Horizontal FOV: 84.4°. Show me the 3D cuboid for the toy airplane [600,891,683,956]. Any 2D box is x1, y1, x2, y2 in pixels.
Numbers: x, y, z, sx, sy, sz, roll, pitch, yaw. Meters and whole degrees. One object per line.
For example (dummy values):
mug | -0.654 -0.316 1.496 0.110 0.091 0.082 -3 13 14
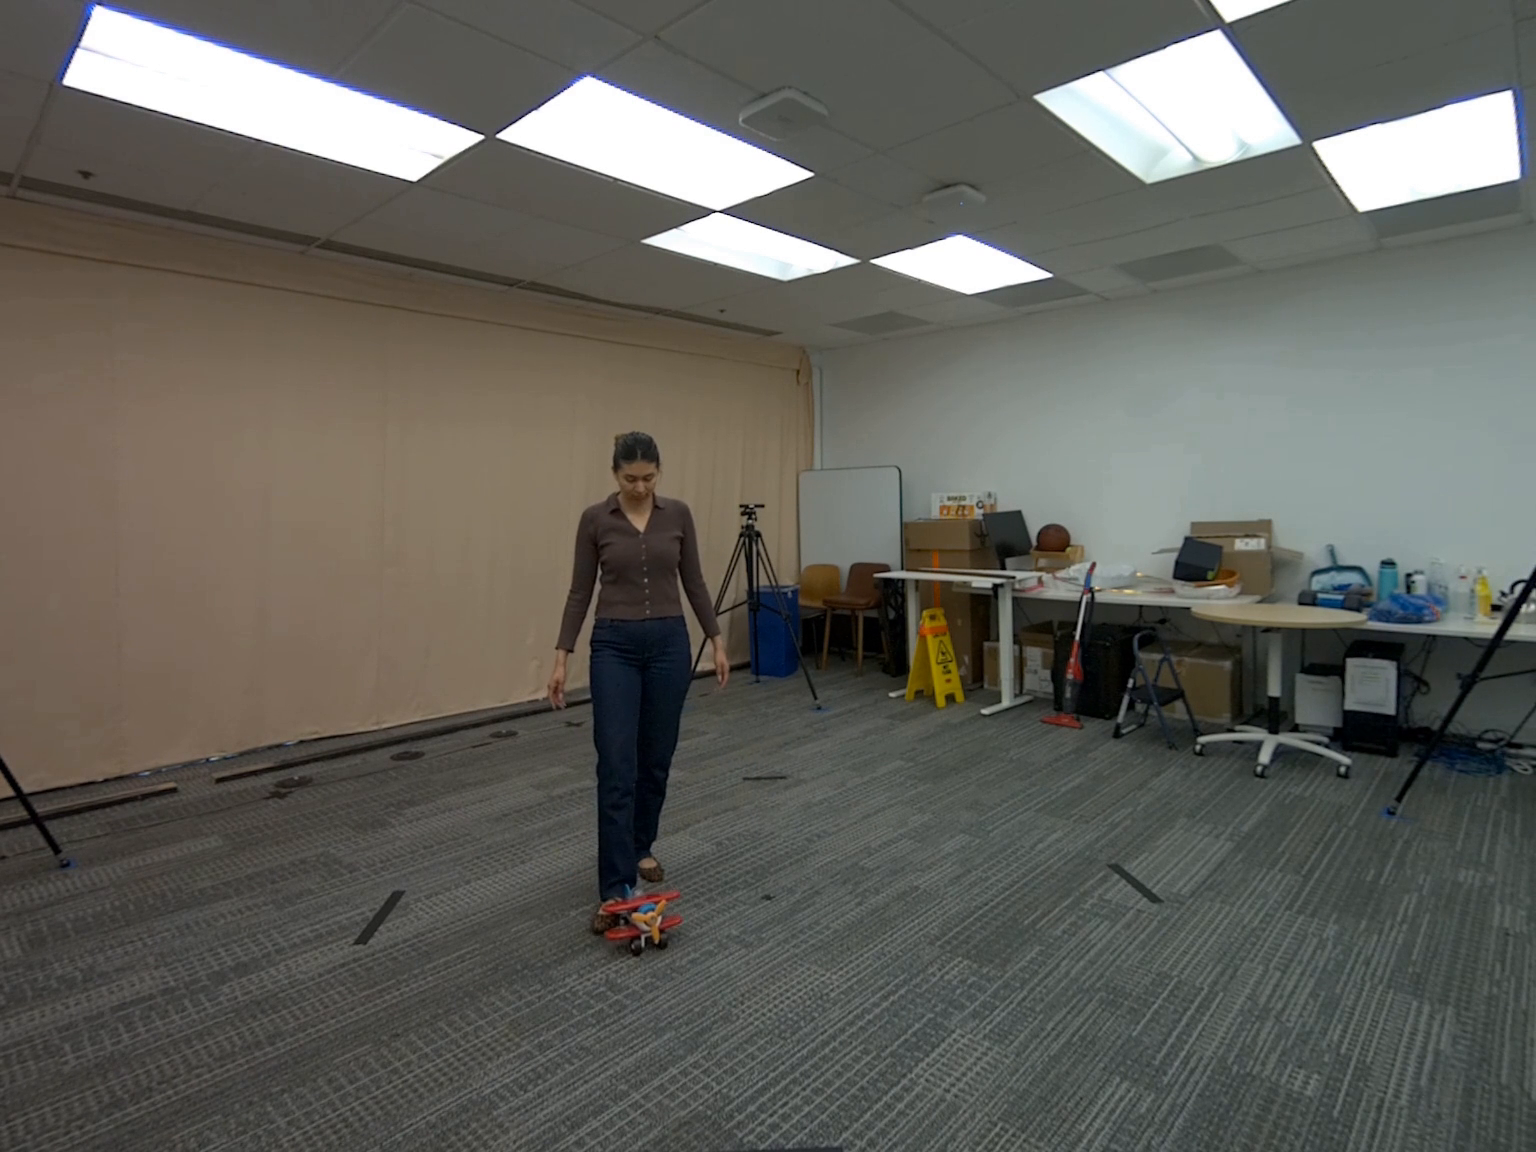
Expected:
toy airplane | -0.427 1.099 2.701 0.267 0.156 0.244 3 7 34
